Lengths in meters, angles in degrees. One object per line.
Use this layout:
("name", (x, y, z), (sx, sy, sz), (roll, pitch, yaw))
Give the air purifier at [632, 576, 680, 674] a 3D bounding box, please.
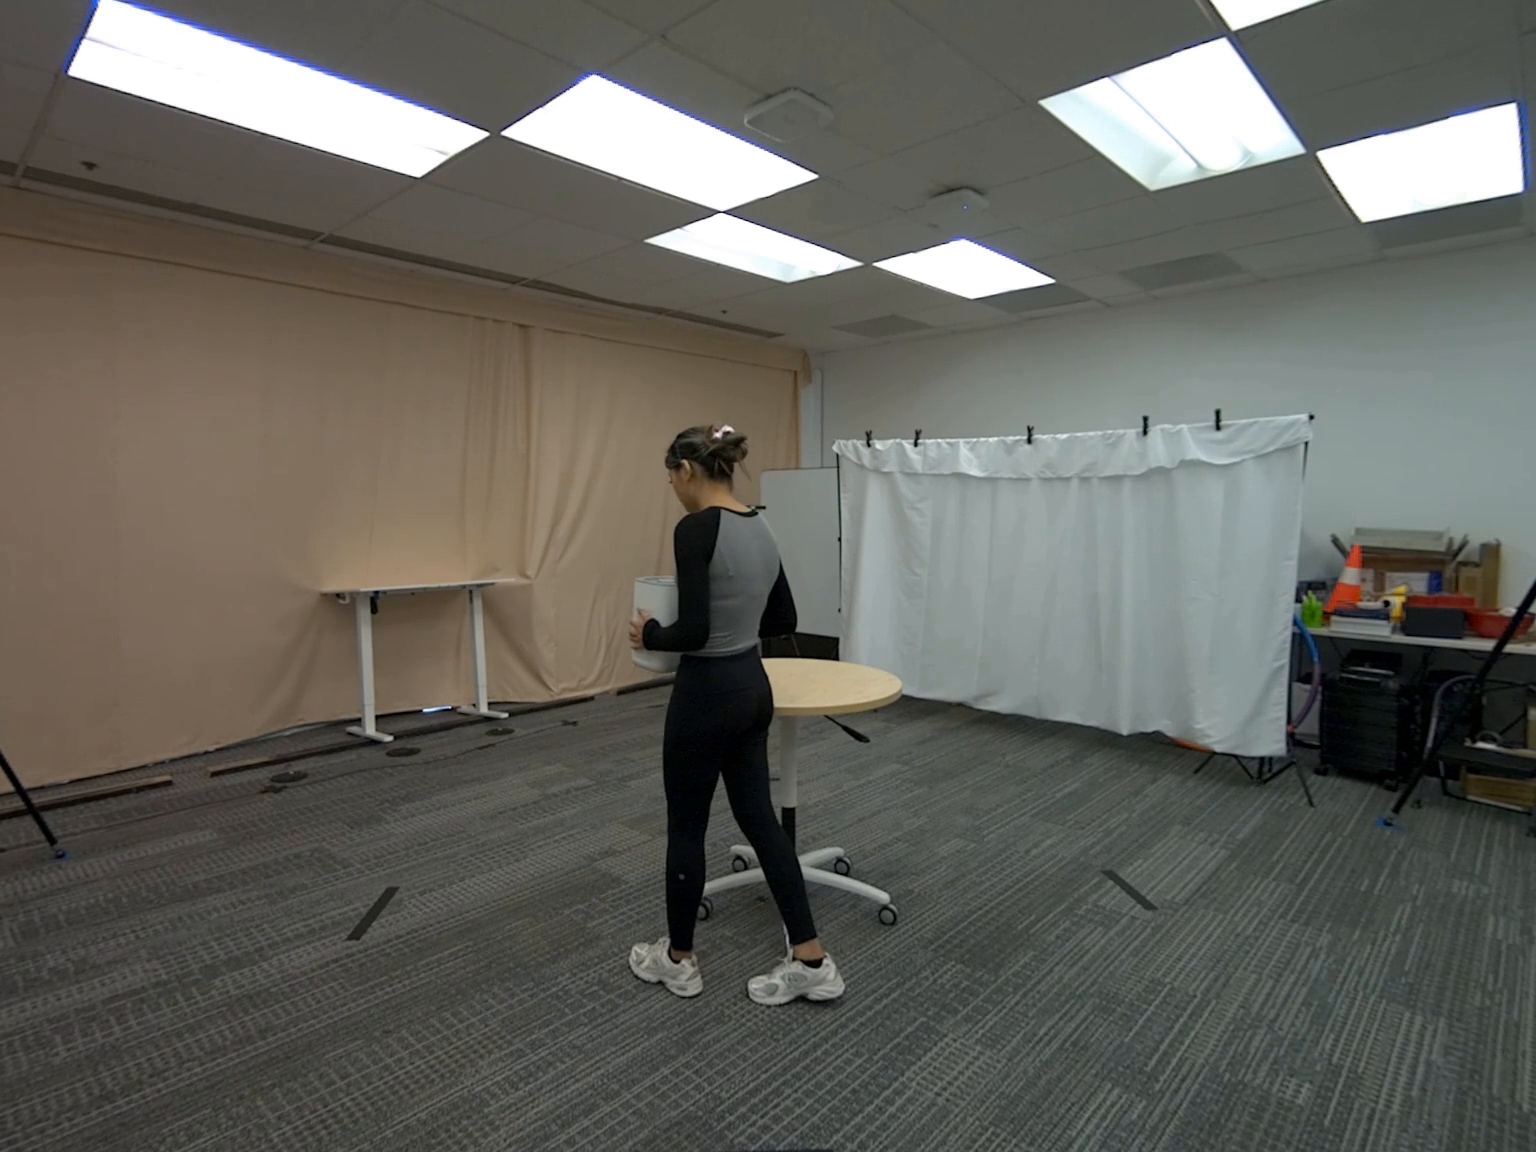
("air purifier", (-0.294, 0.147, 2.490), (0.177, 0.264, 0.166), (9, 11, 38))
